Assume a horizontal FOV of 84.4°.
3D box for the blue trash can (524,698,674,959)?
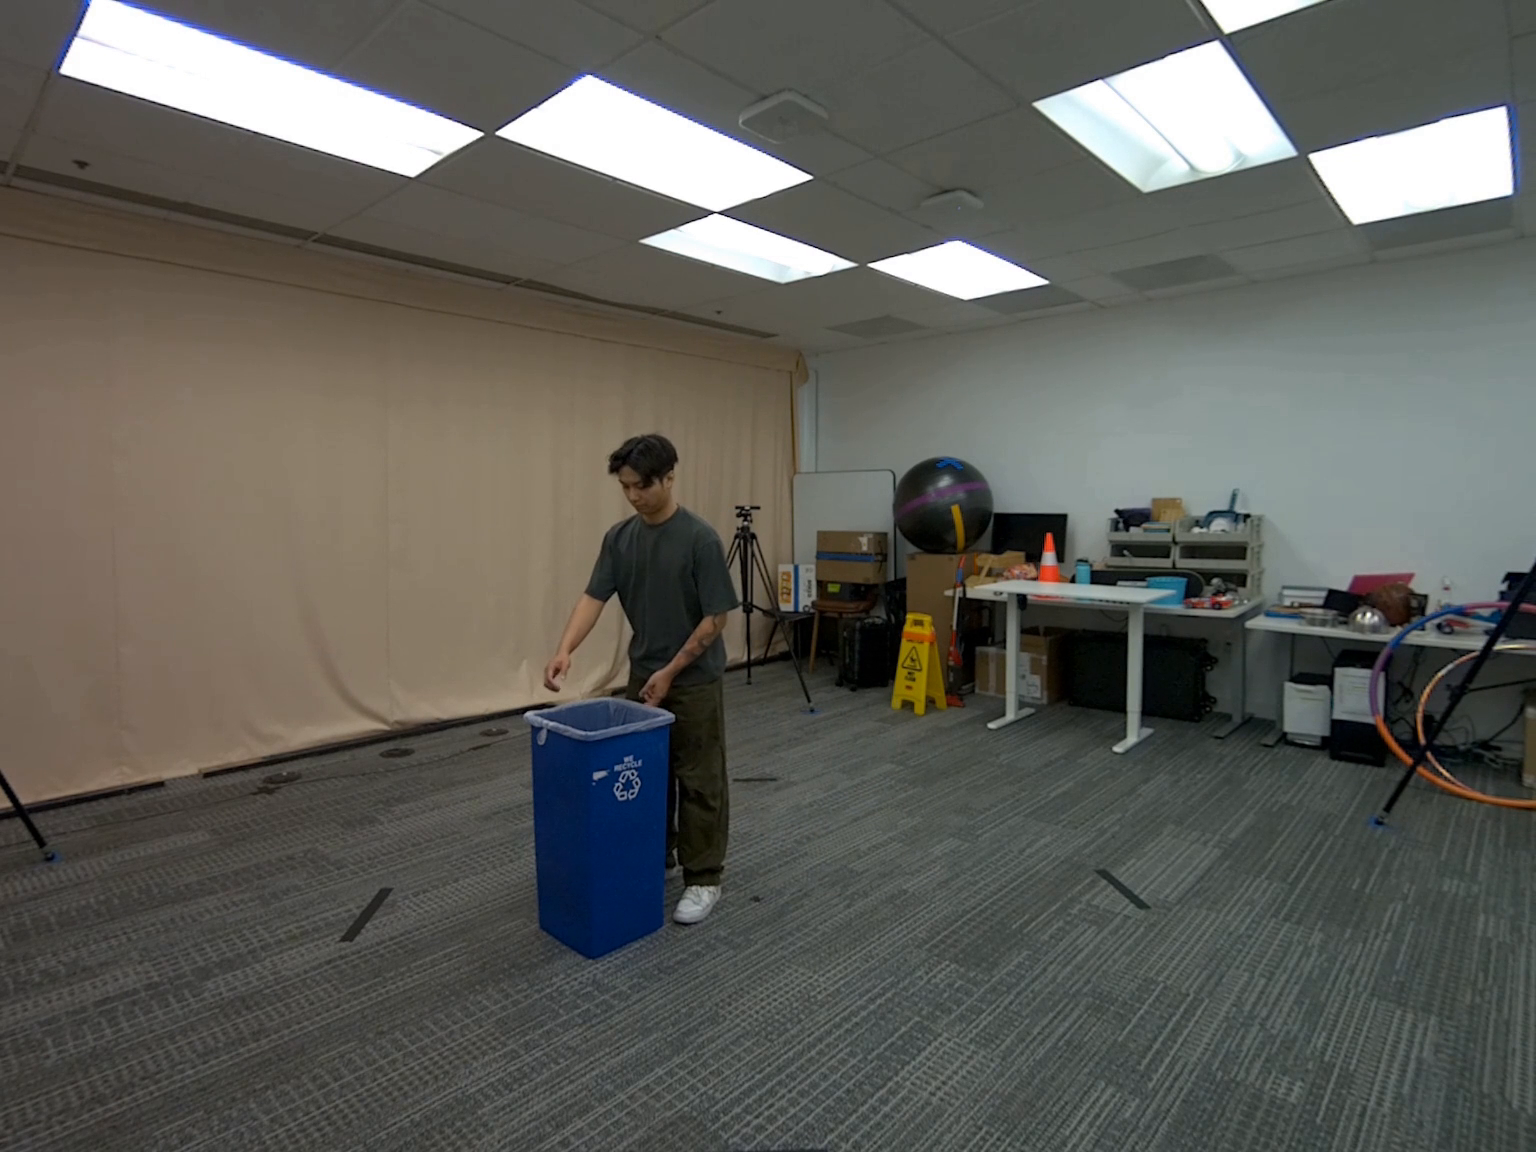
[{"bbox_3d":[-0.553,0.807,2.780,0.391,0.712,0.363,3,5,43],"label":"blue trash can"}]
